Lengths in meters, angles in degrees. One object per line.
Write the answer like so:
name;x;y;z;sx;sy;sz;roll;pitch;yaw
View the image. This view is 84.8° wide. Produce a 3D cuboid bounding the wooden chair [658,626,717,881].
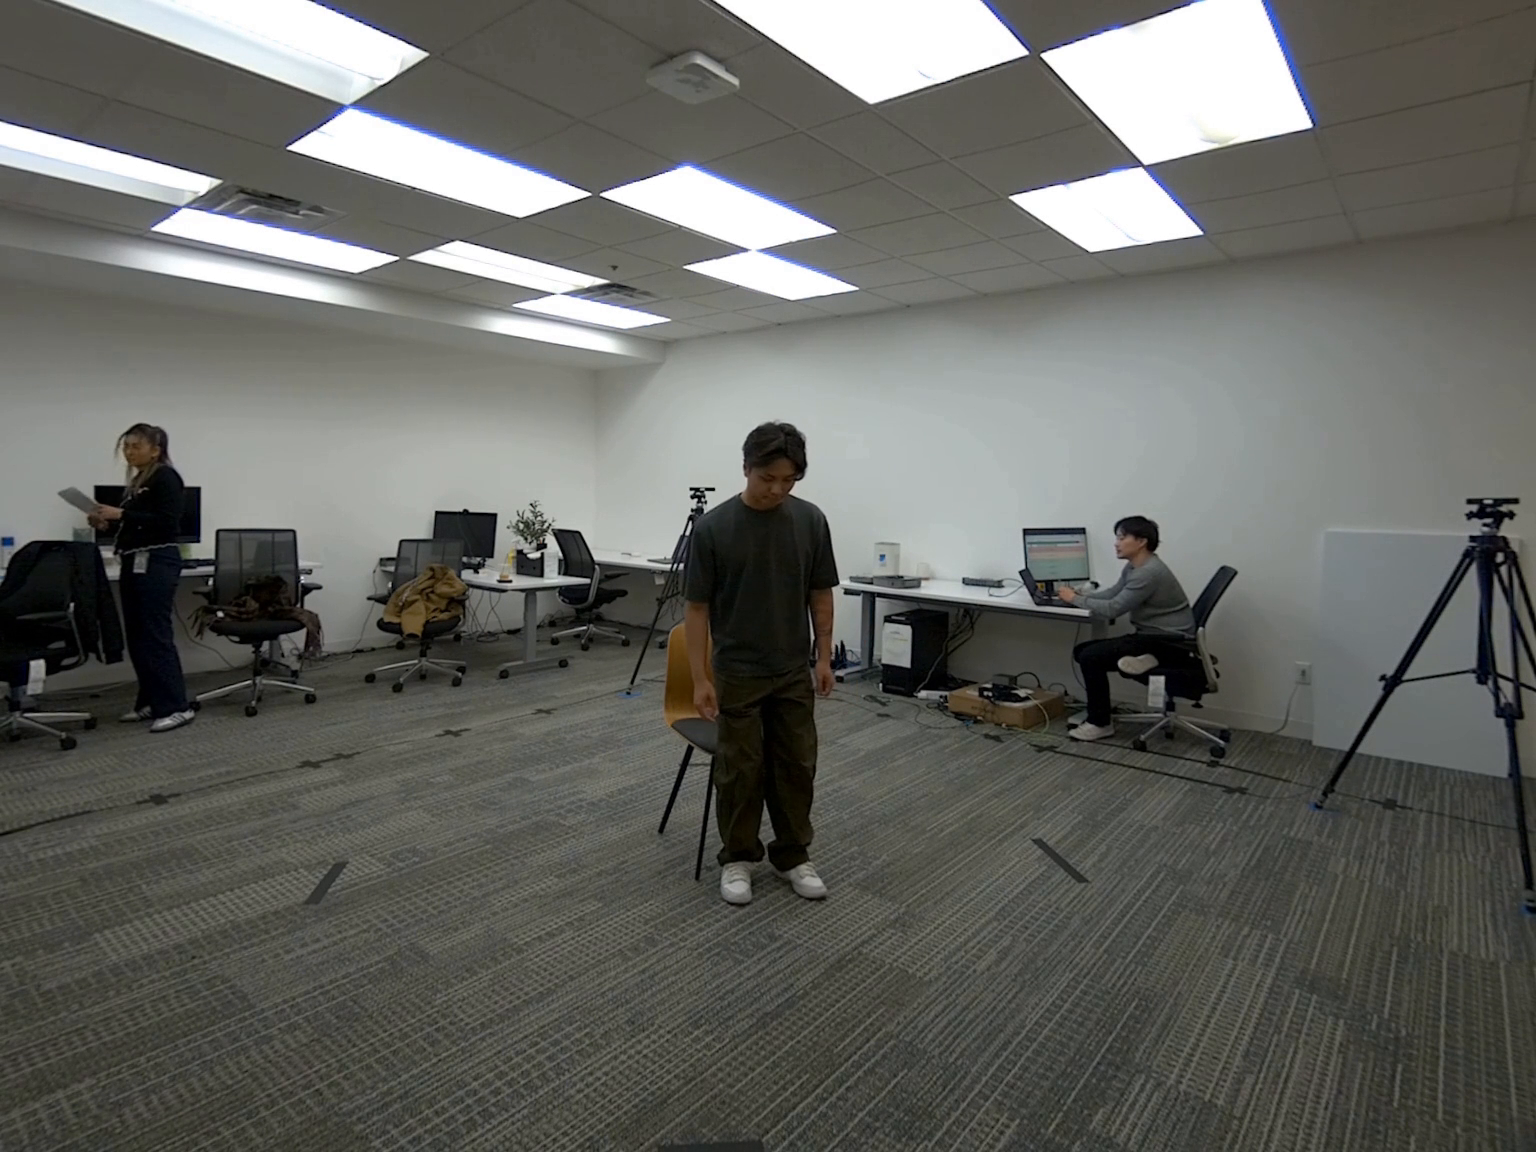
wooden chair;-0.143;0.621;3.266;0.467;0.878;0.534;0;-1;-23
